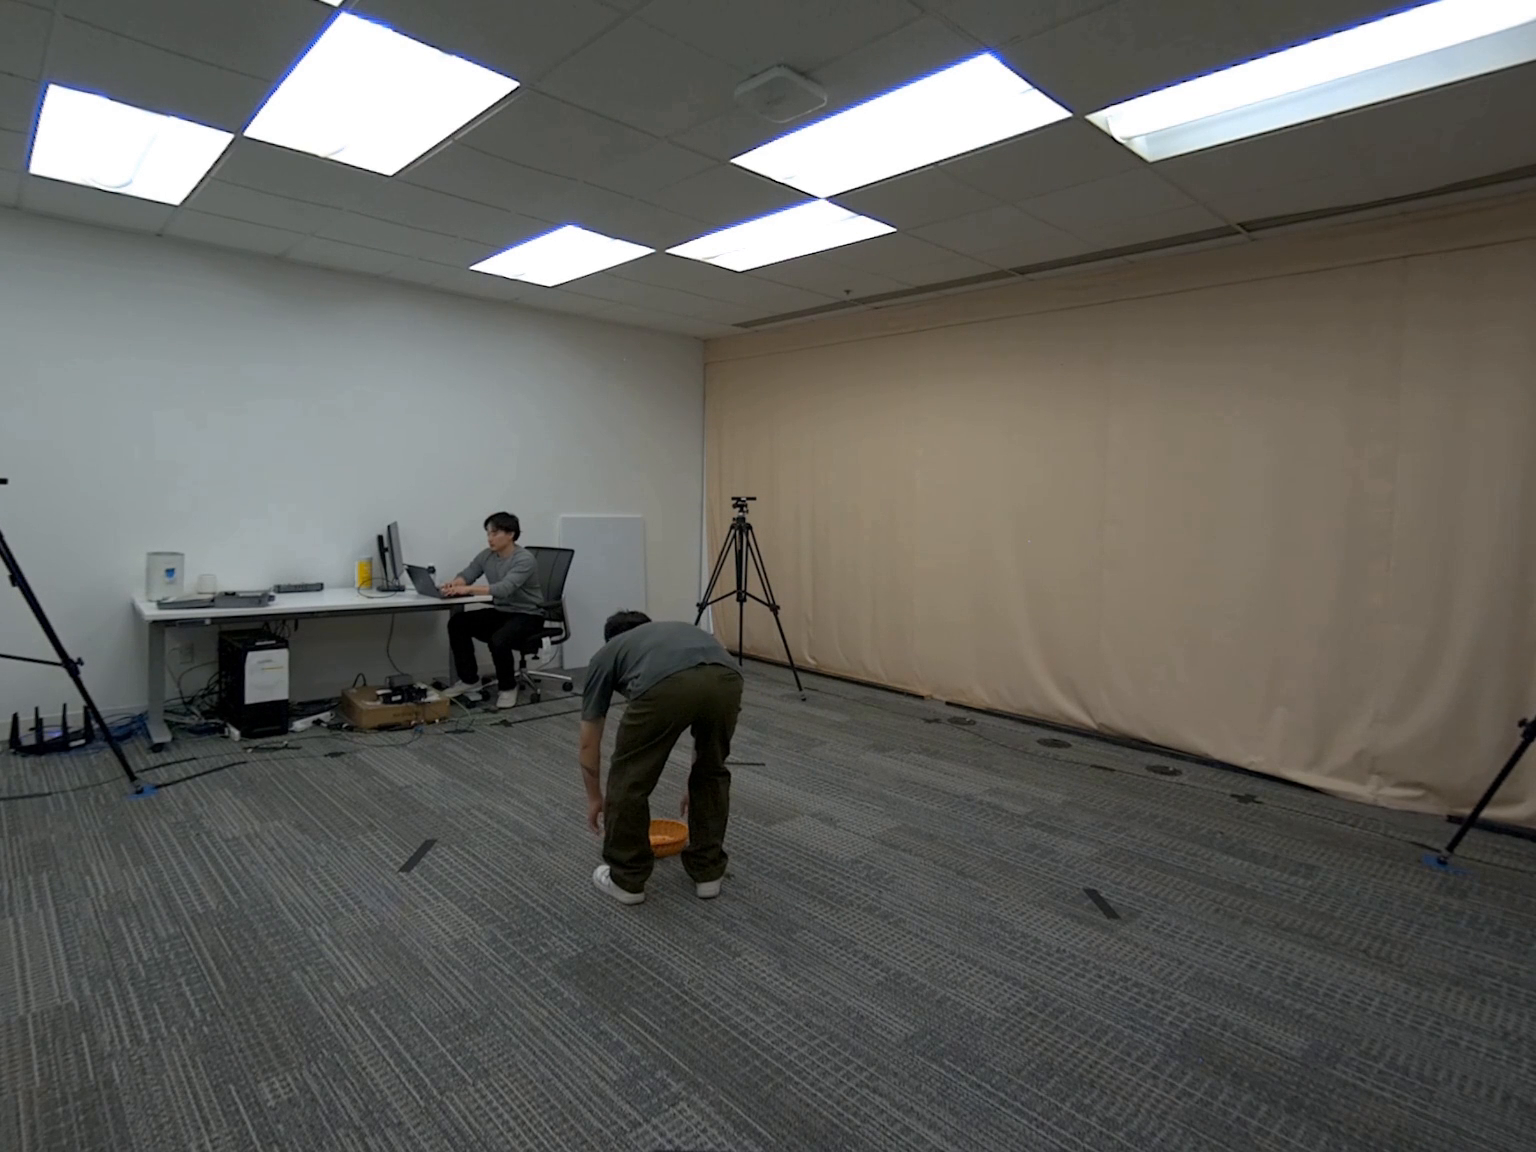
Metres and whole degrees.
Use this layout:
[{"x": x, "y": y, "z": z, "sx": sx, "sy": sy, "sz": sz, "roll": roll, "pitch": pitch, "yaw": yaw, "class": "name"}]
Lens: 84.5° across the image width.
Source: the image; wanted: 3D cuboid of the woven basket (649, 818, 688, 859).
[{"x": -0.481, "y": 1.039, "z": 3.327, "sx": 0.345, "sy": 0.073, "sz": 0.257, "roll": -1, "pitch": 5, "yaw": -21, "class": "woven basket"}]
